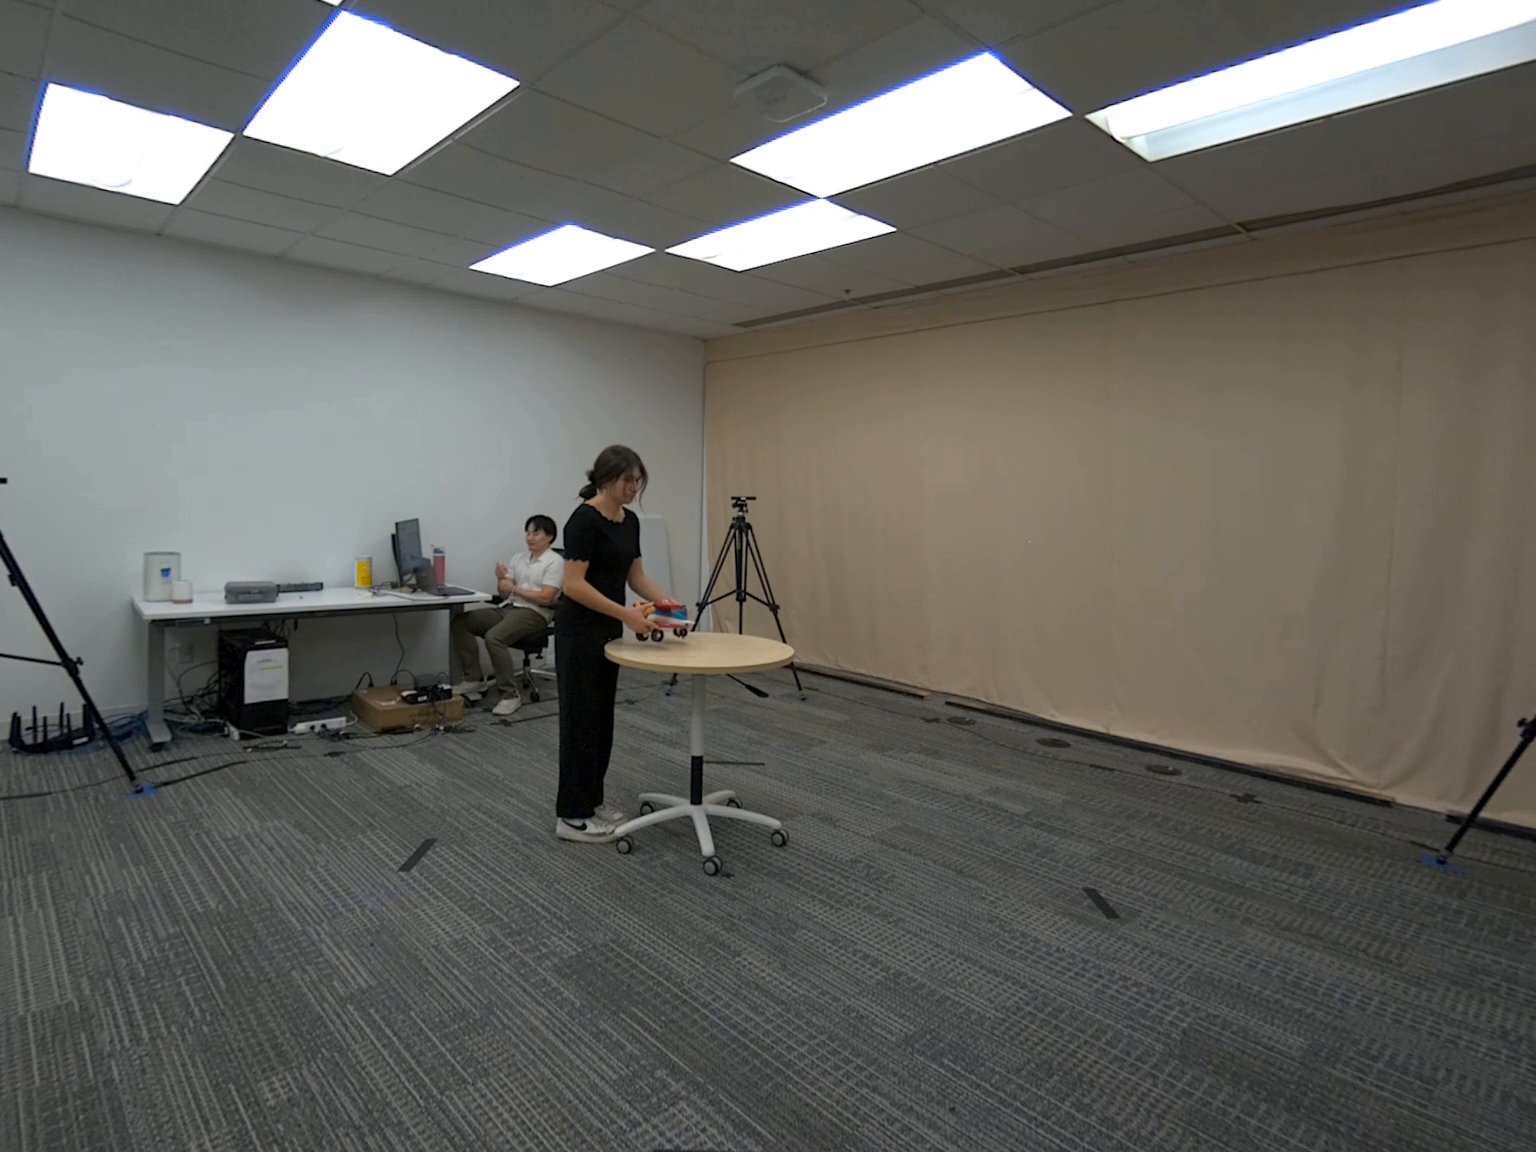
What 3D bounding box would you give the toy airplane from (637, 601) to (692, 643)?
[{"bbox_3d":[-0.455,0.178,3.437,0.253,0.156,0.257,-1,4,12],"label":"toy airplane"}]
